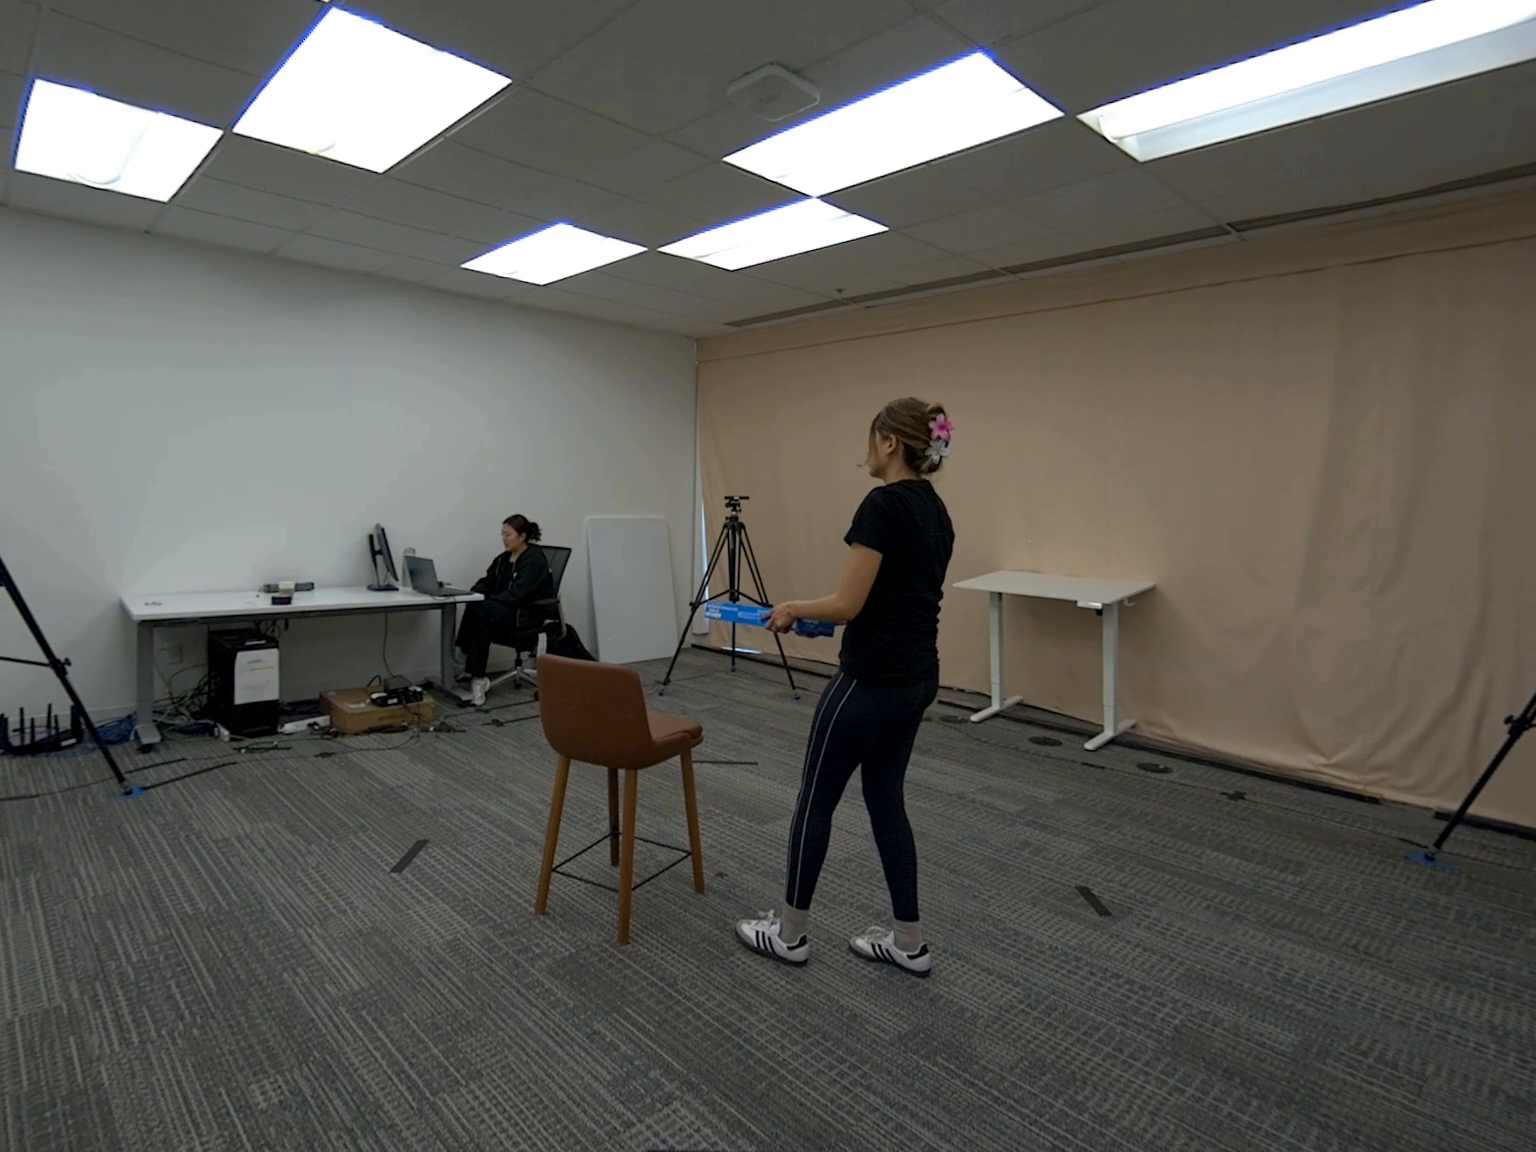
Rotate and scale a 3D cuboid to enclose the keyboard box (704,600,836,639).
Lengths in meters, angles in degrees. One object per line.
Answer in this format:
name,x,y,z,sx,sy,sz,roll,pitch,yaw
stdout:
keyboard box,-0.009,0.144,2.783,0.171,0.059,0.448,11,-4,-44
